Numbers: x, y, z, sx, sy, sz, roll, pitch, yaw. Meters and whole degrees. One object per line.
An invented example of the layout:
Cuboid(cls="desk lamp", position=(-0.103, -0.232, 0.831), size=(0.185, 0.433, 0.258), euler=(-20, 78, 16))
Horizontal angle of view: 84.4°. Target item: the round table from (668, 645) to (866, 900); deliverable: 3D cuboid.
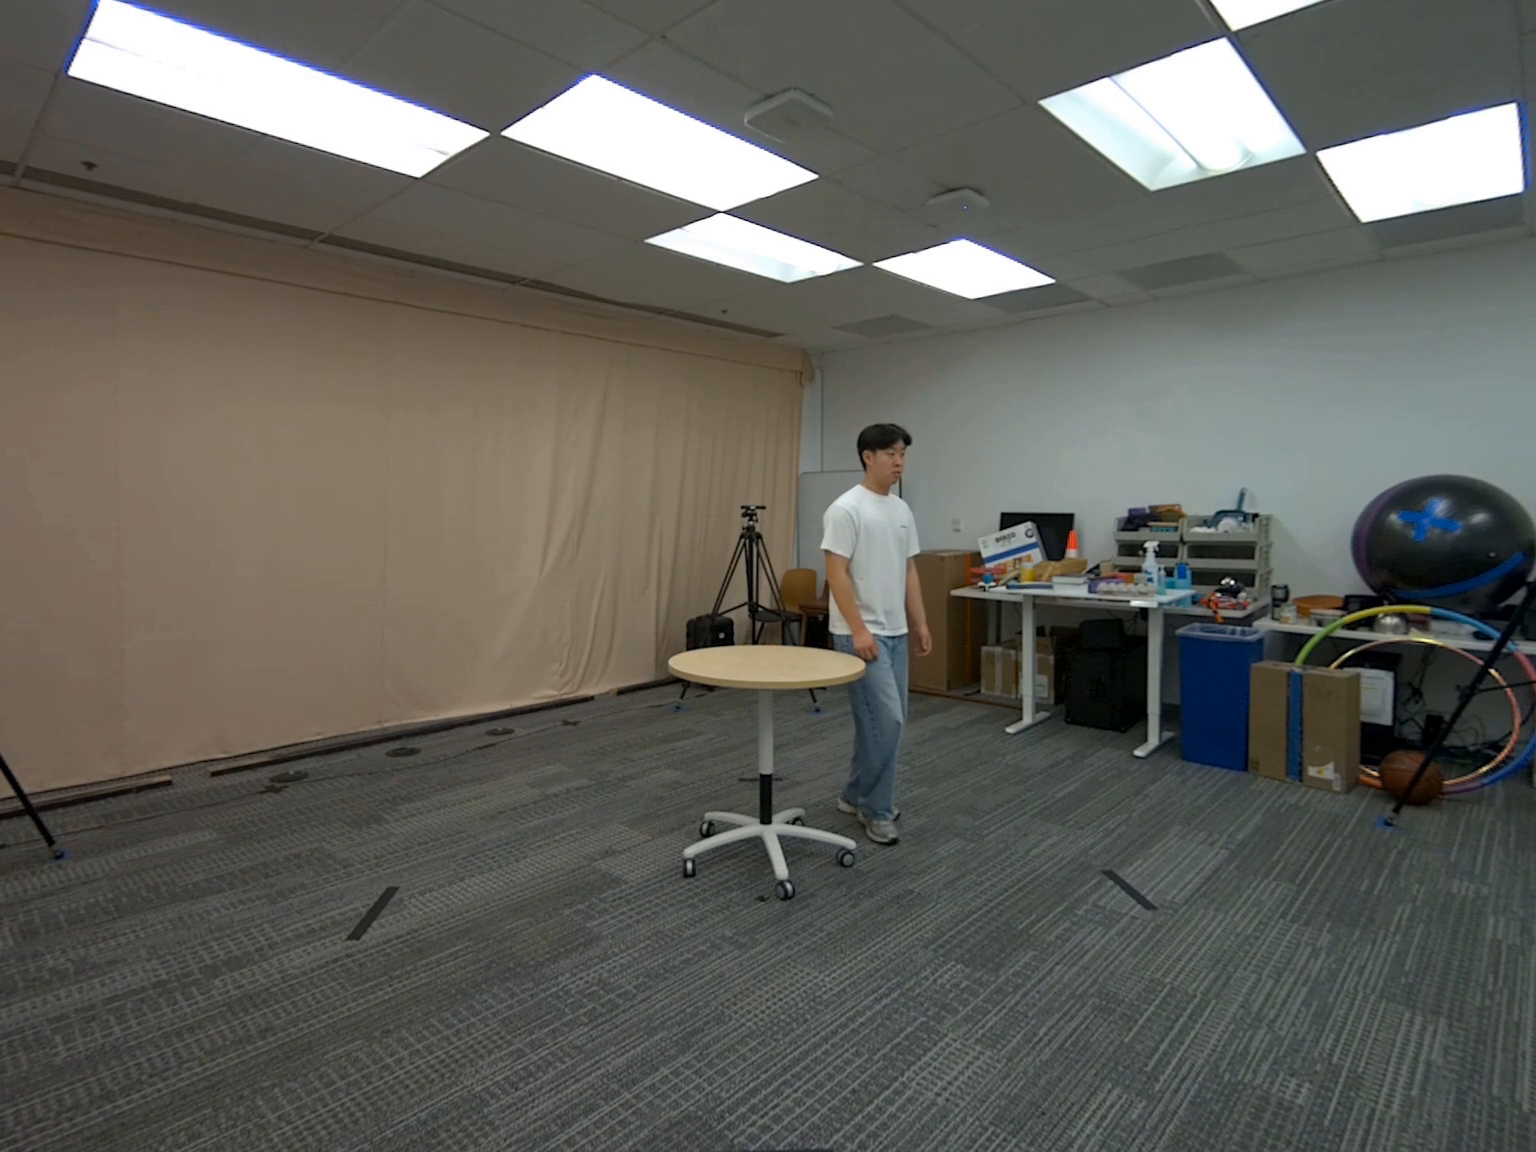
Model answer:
Cuboid(cls="round table", position=(-0.004, 0.729, 3.305), size=(0.763, 0.792, 0.766), euler=(0, 4, -2))
